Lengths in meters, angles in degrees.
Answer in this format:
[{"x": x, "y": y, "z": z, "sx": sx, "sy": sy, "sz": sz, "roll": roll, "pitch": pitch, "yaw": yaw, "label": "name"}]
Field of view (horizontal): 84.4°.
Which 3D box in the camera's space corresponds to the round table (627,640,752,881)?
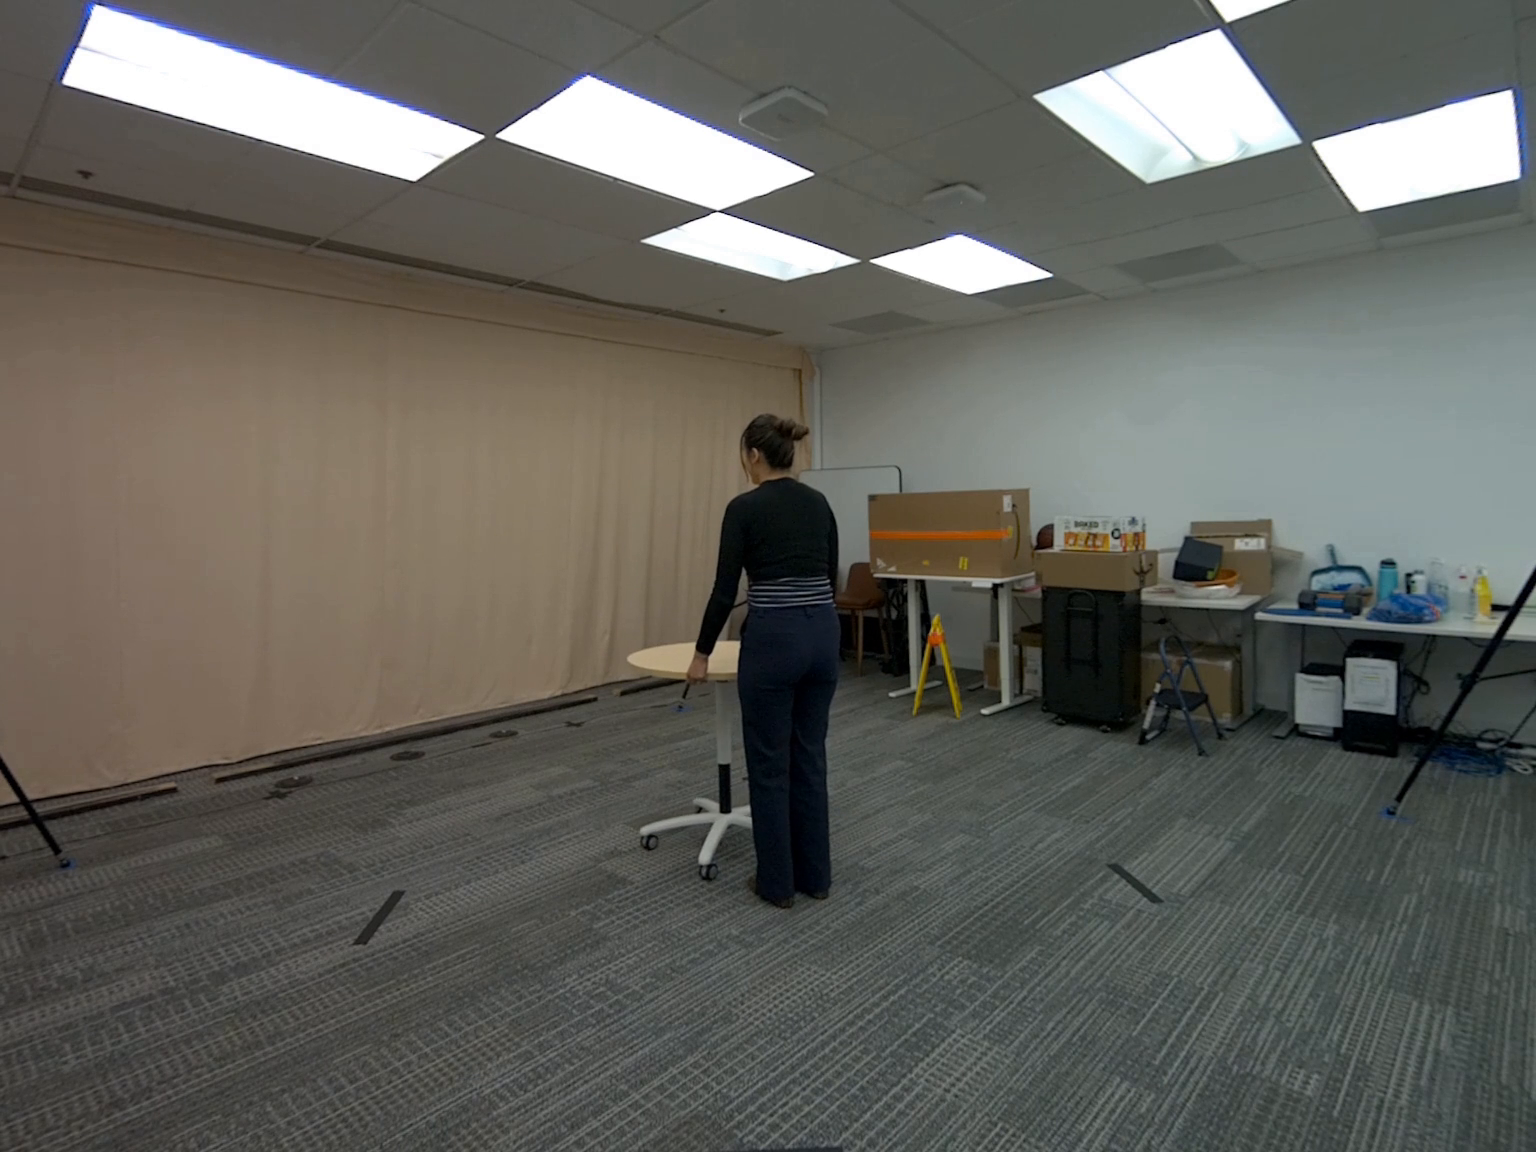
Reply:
[{"x": -0.180, "y": 0.715, "z": 3.424, "sx": 0.763, "sy": 0.792, "sz": 0.766, "roll": -1, "pitch": 3, "yaw": -2, "label": "round table"}]
